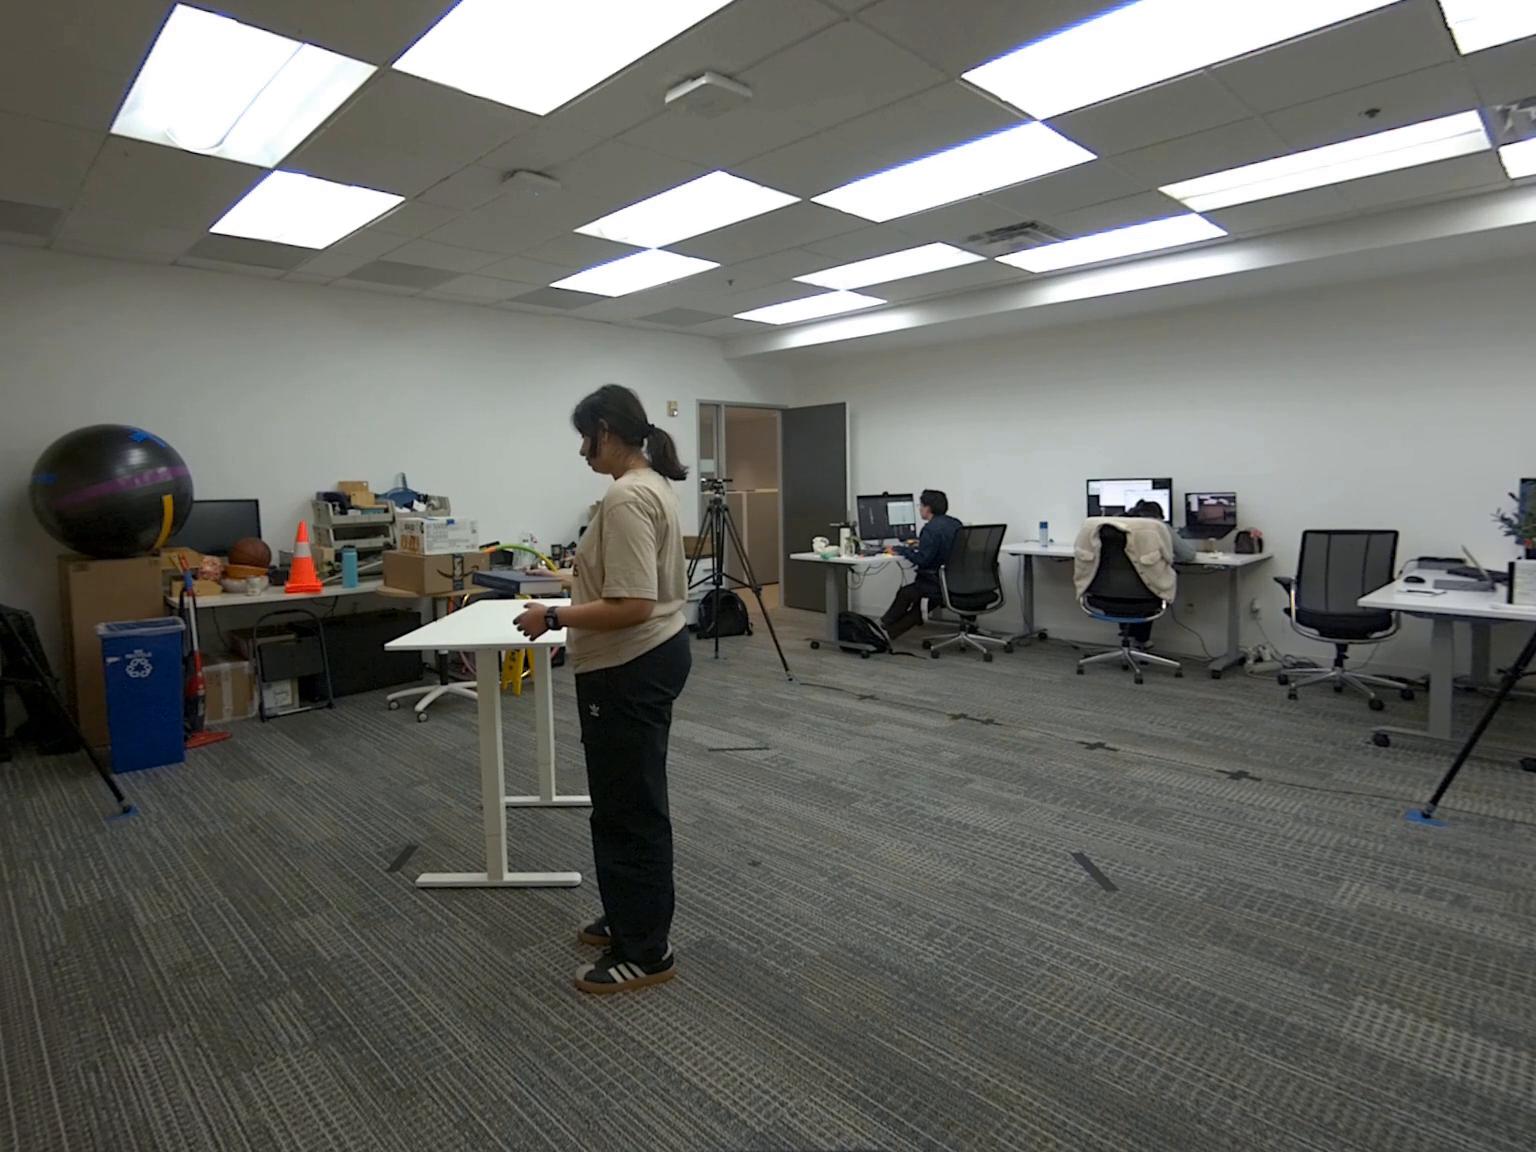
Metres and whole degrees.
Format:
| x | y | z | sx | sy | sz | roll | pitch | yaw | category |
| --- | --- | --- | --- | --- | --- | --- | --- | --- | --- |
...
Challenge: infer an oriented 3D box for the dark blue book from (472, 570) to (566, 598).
| x | y | z | sx | sy | sz | roll | pitch | yaw | category |
| --- | --- | --- | --- | --- | --- | --- | --- | --- | --- |
| -0.769 | 0.020 | 2.607 | 0.253 | 0.045 | 0.158 | 8 | 5 | 39 | dark blue book |
